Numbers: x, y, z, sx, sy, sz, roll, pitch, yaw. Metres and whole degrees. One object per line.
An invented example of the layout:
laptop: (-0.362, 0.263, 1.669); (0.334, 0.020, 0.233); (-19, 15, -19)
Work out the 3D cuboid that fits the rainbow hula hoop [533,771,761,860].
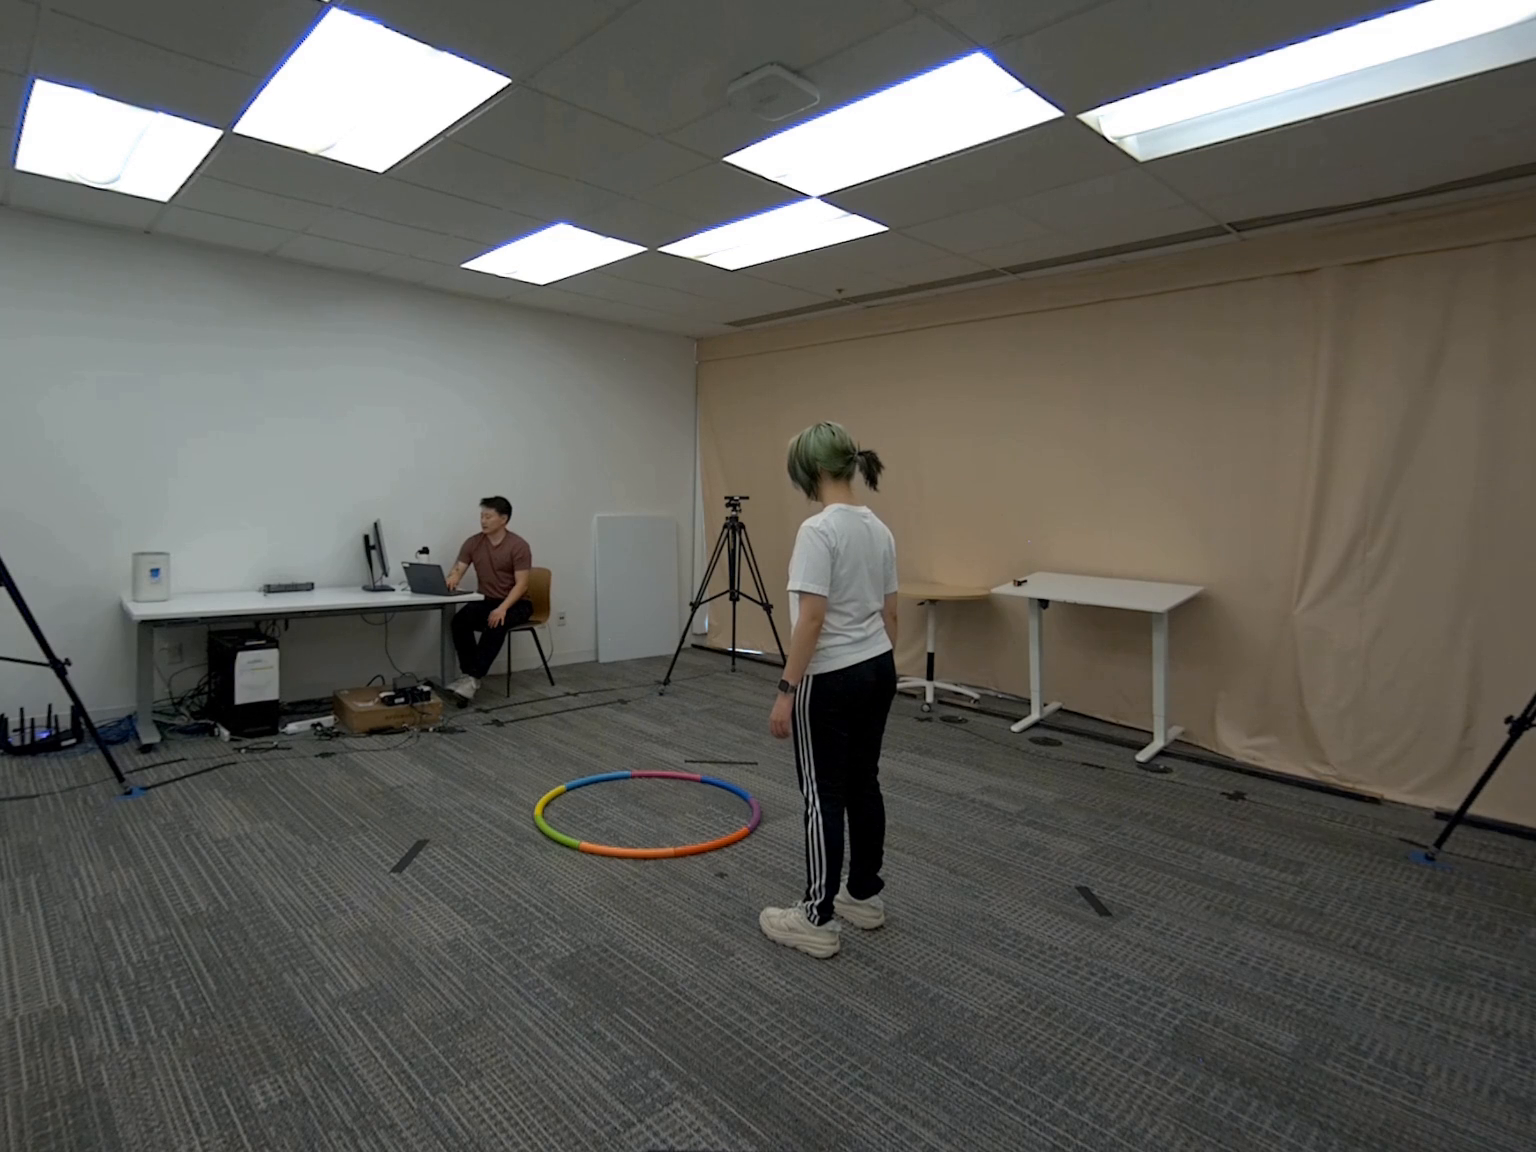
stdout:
rainbow hula hoop: (-0.529, 1.012, 3.699); (0.978, 0.035, 0.982); (2, 6, -2)
